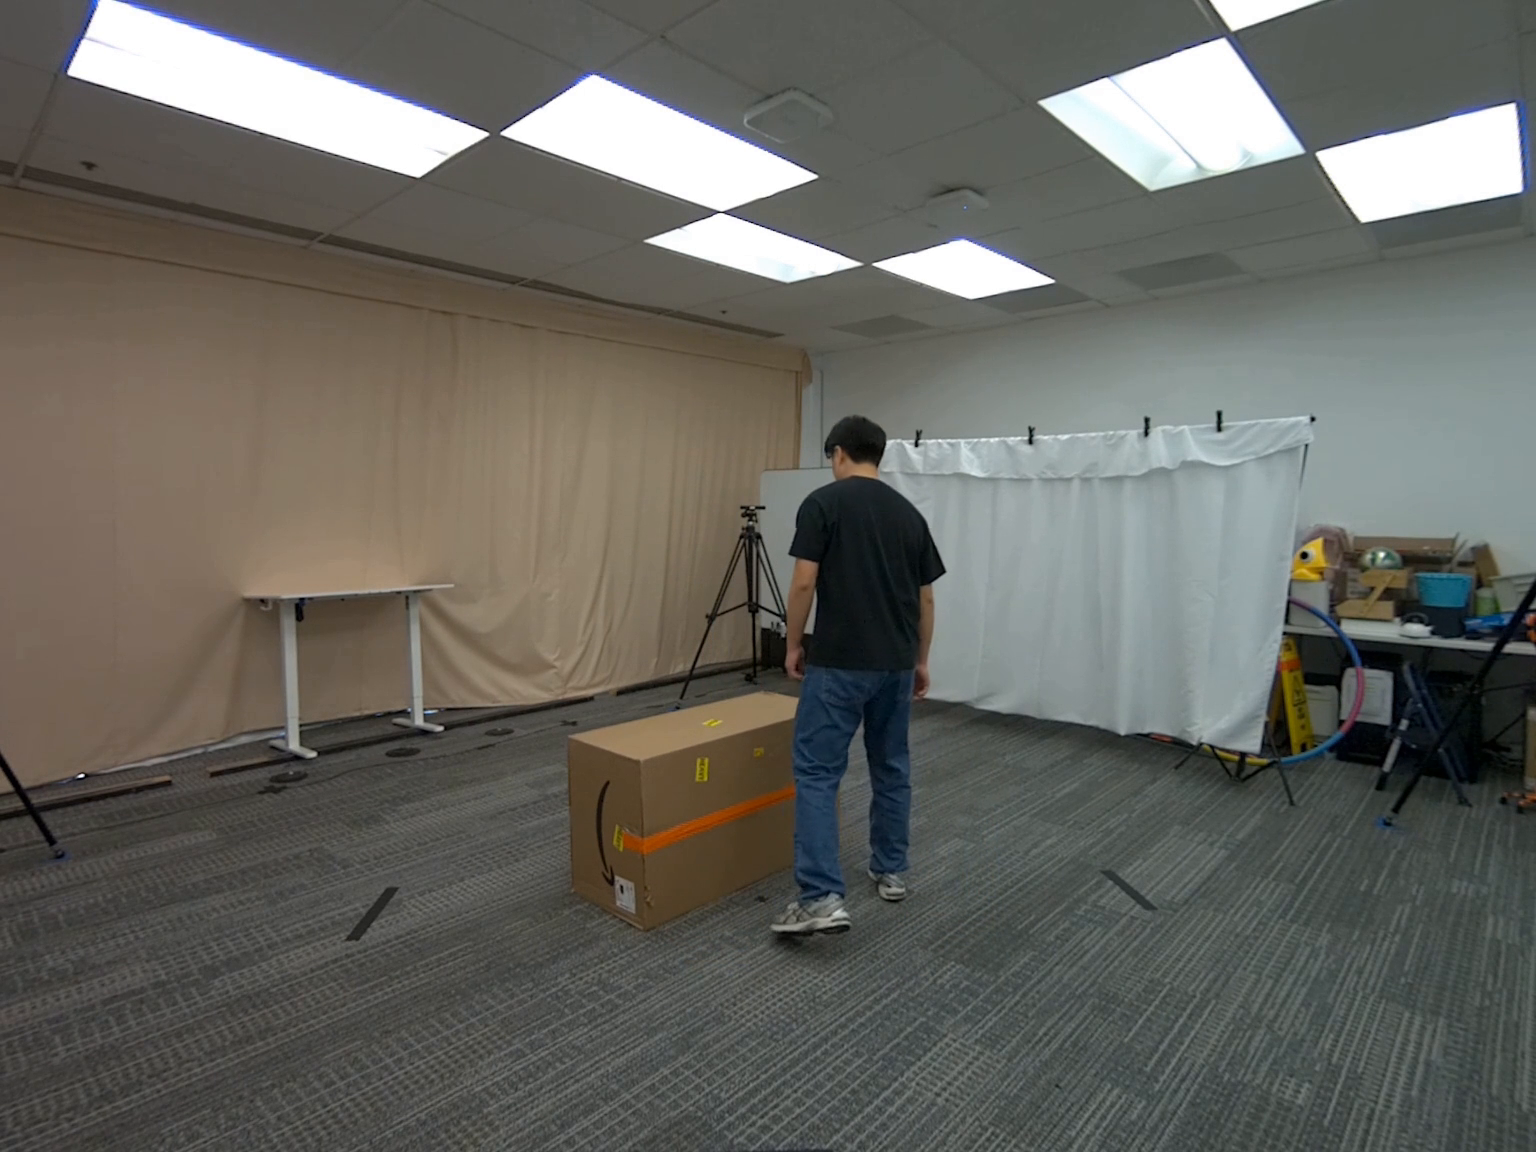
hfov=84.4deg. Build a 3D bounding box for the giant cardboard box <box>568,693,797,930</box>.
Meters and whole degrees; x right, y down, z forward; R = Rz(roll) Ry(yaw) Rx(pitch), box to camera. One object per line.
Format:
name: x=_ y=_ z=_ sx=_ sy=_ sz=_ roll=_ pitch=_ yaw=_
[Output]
giant cardboard box: x=-0.215 y=0.840 z=3.239 sx=0.996 sy=0.582 sz=0.462 roll=-5 pitch=7 yaw=-45
